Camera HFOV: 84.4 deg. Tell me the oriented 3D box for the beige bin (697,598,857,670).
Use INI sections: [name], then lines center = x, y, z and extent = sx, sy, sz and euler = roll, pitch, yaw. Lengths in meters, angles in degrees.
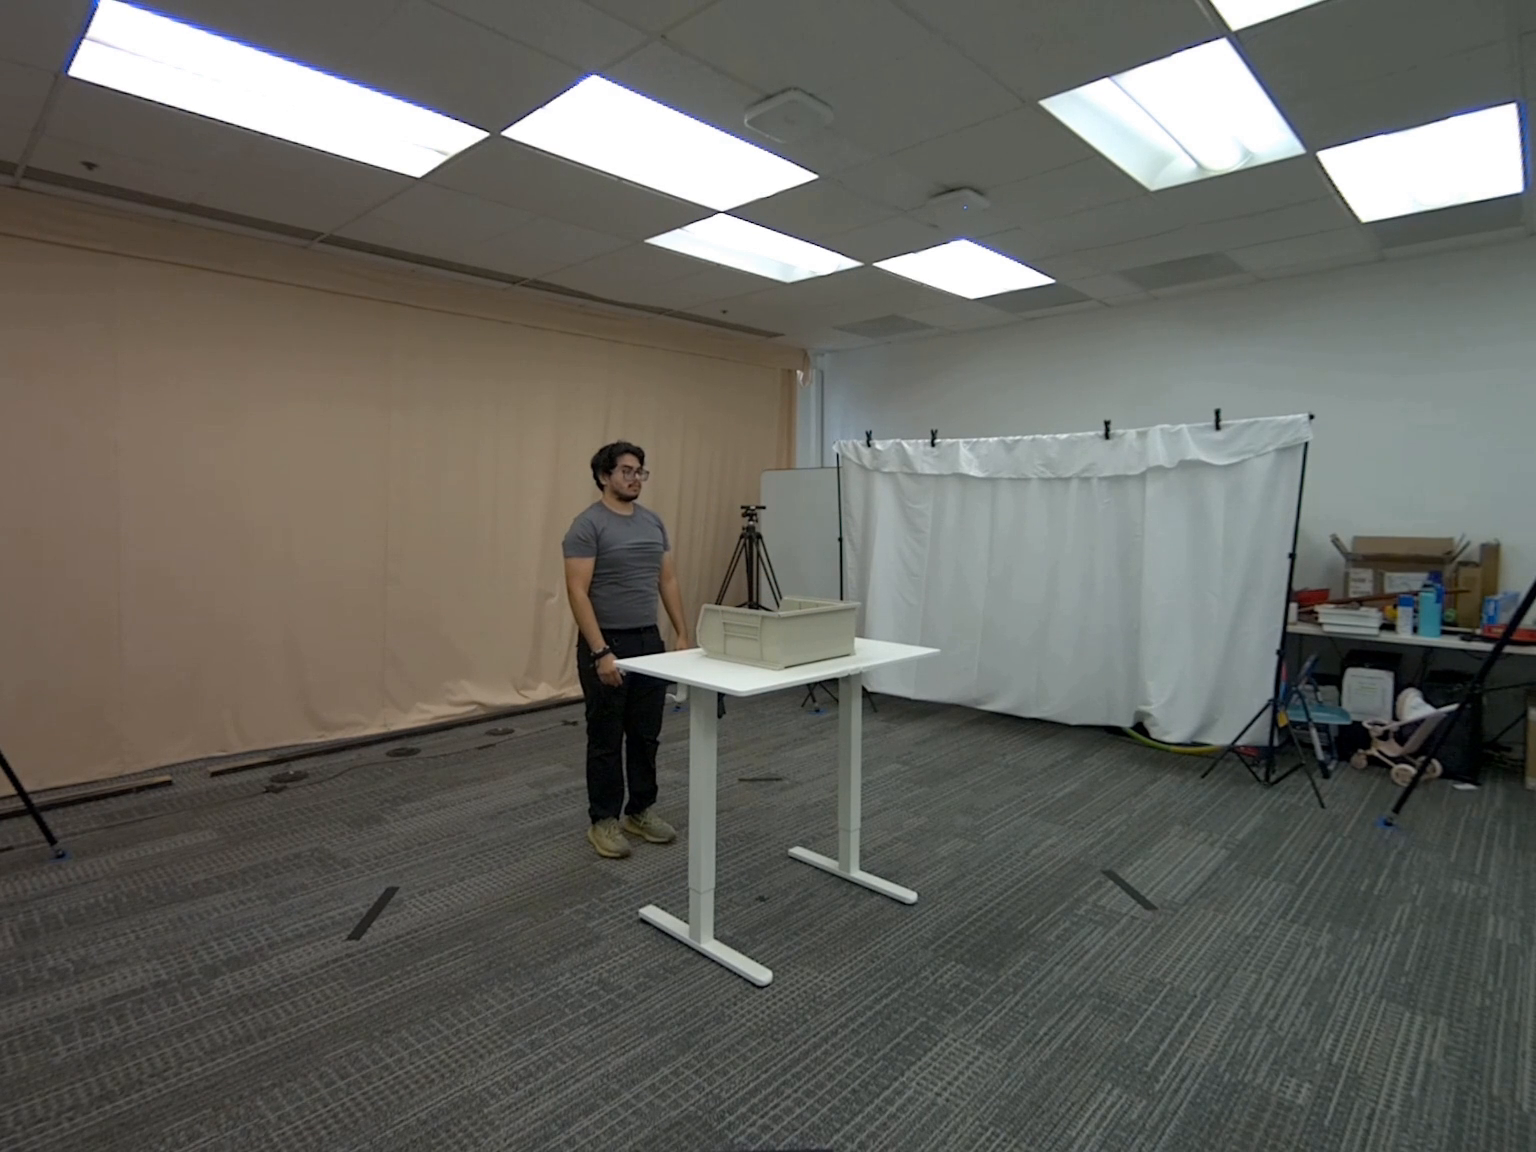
[beige bin]
center = 0.036, 0.183, 2.853
extent = 0.390, 0.188, 0.409
euler = 6, 7, 43
